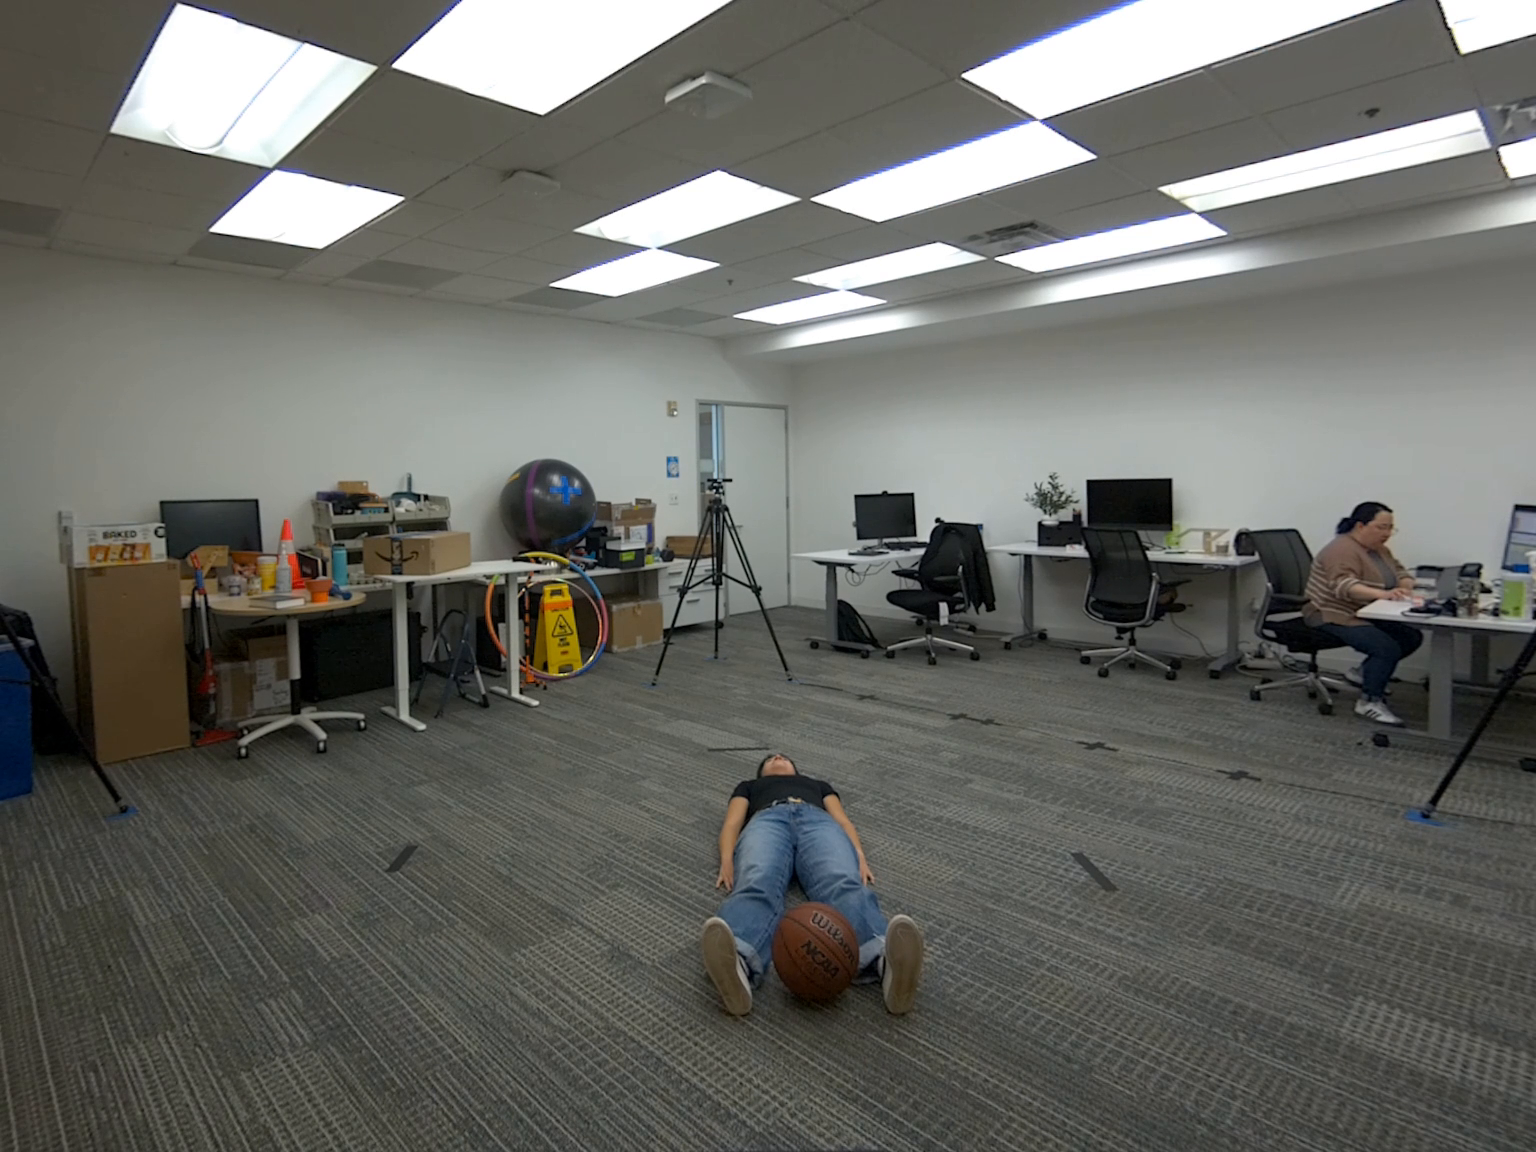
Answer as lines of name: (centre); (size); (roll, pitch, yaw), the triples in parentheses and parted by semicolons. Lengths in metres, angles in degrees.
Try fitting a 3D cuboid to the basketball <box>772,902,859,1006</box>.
basketball: (0.134, 1.012, 2.315); (0.236, 0.235, 0.237); (-1, 5, -2)
